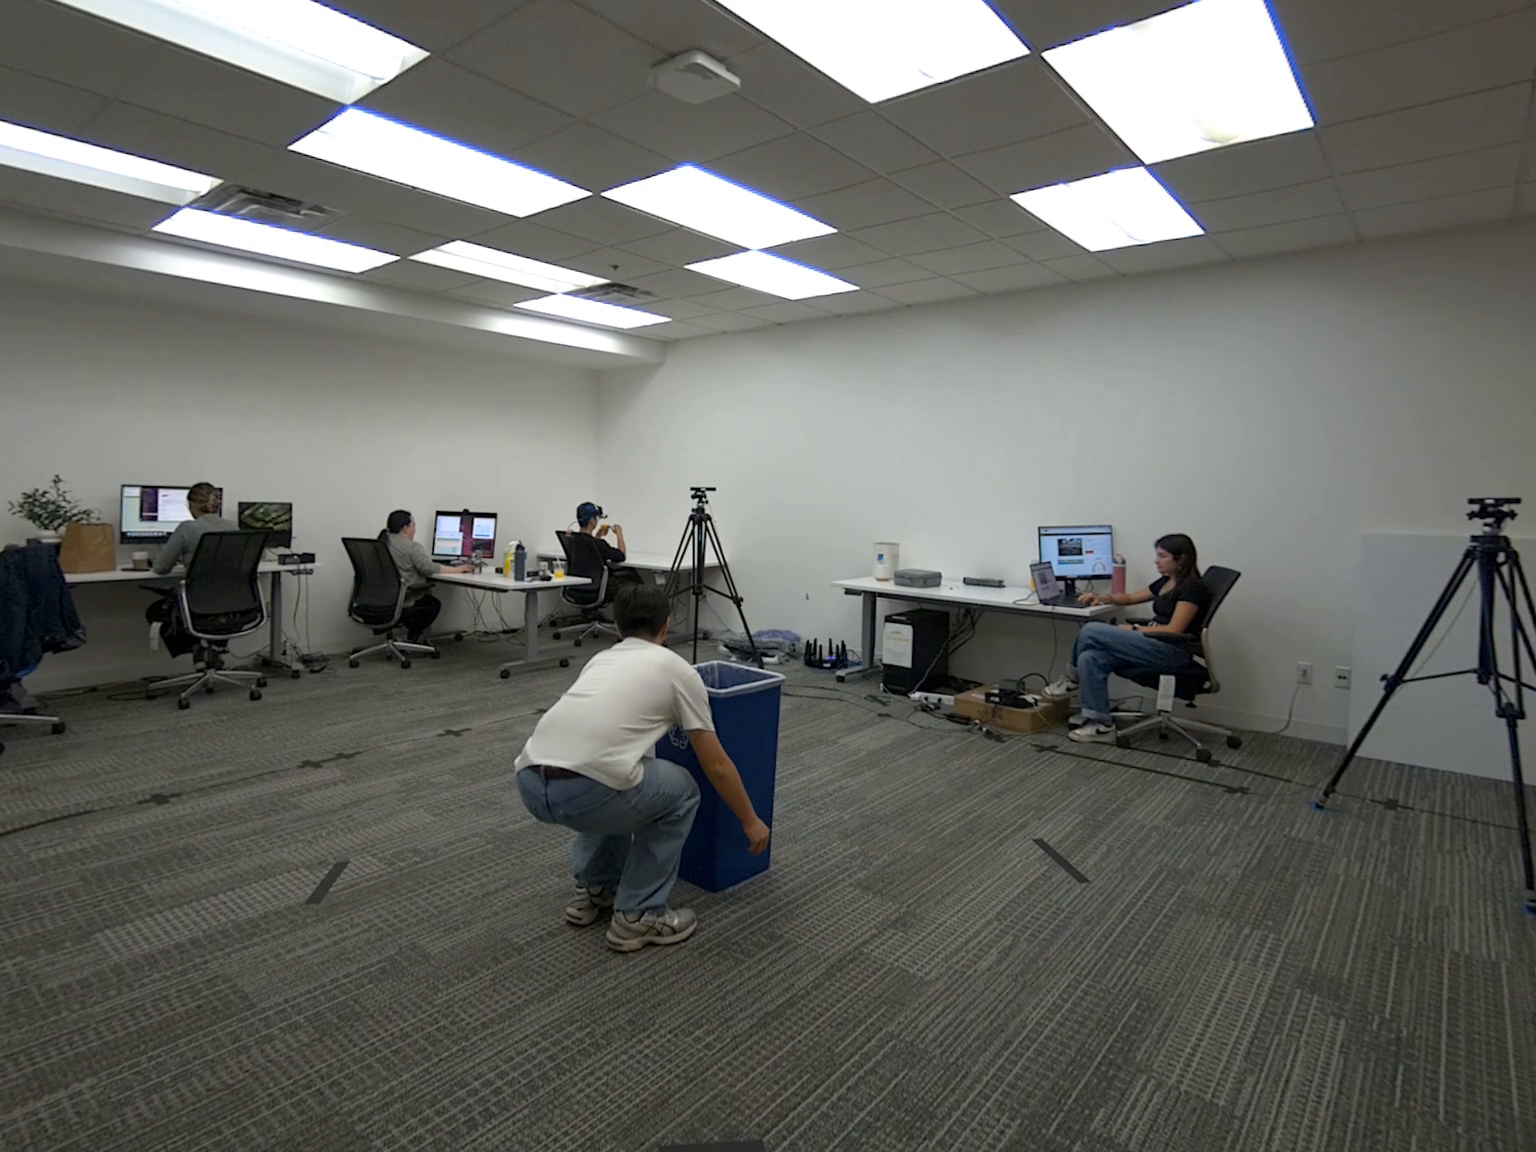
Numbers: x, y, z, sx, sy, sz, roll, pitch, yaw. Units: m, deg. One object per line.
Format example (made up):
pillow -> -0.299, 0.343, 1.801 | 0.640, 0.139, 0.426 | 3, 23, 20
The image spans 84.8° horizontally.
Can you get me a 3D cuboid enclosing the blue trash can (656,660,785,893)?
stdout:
blue trash can -> -0.193, 0.709, 3.104 | 0.387, 0.711, 0.367 | 4, 5, 42
